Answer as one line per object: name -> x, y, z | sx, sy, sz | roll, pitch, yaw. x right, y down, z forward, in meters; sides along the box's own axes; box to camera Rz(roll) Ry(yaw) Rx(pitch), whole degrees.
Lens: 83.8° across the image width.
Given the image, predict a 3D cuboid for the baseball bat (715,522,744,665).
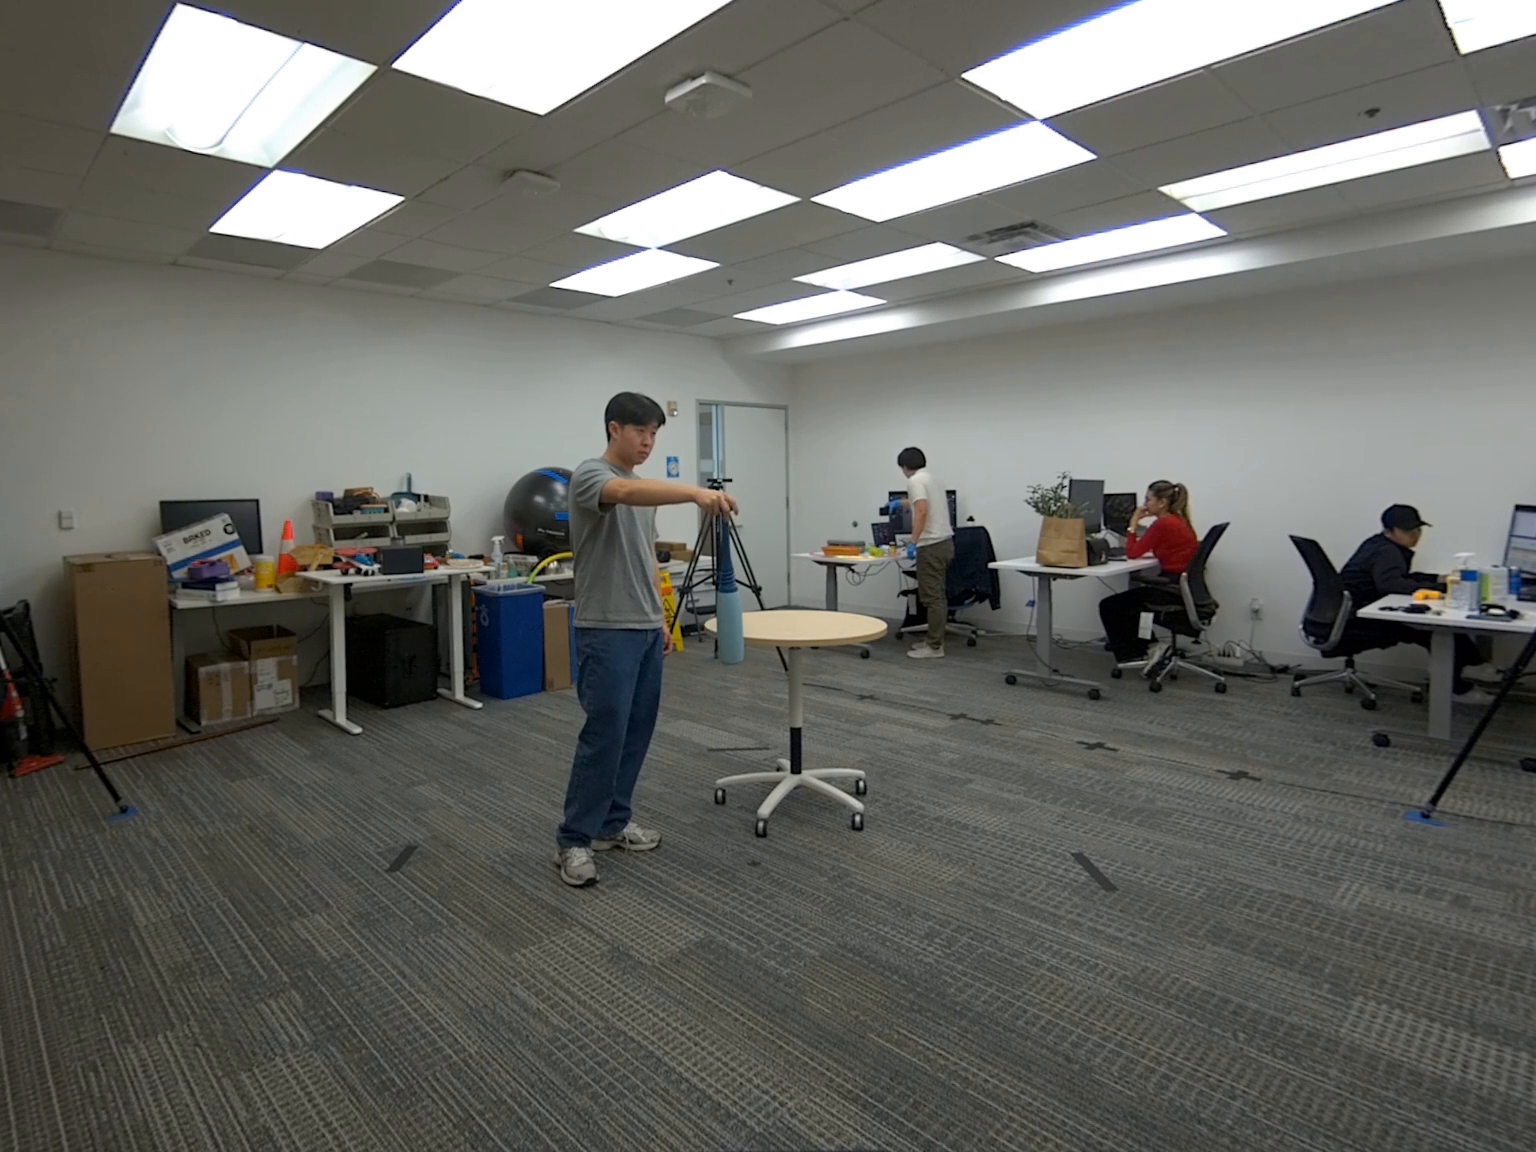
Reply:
baseball bat -> -0.139, 0.035, 2.831 | 0.089, 0.537, 0.090 | -1, 12, -2
